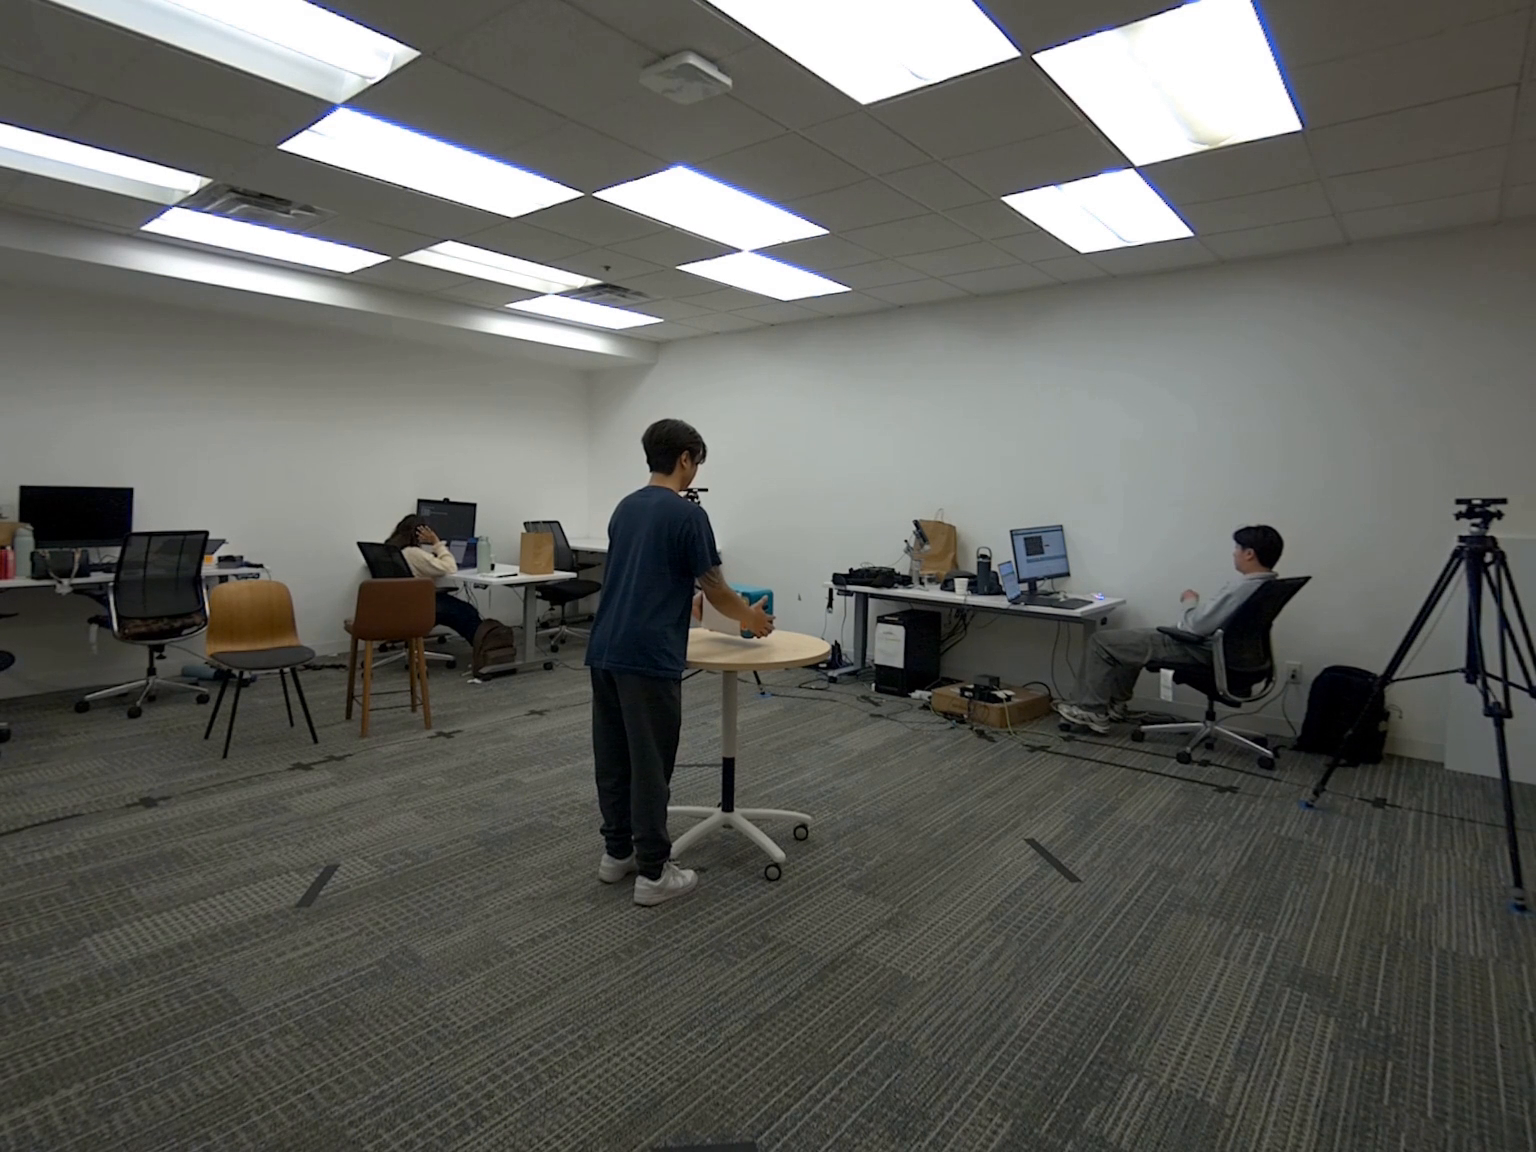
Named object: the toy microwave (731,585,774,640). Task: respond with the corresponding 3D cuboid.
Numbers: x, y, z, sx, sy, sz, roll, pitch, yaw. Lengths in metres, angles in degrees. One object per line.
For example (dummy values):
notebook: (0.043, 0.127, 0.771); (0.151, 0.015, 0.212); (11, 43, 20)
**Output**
toy microwave: (-0.138, 0.134, 3.297); (0.296, 0.183, 0.148); (6, 6, 44)
